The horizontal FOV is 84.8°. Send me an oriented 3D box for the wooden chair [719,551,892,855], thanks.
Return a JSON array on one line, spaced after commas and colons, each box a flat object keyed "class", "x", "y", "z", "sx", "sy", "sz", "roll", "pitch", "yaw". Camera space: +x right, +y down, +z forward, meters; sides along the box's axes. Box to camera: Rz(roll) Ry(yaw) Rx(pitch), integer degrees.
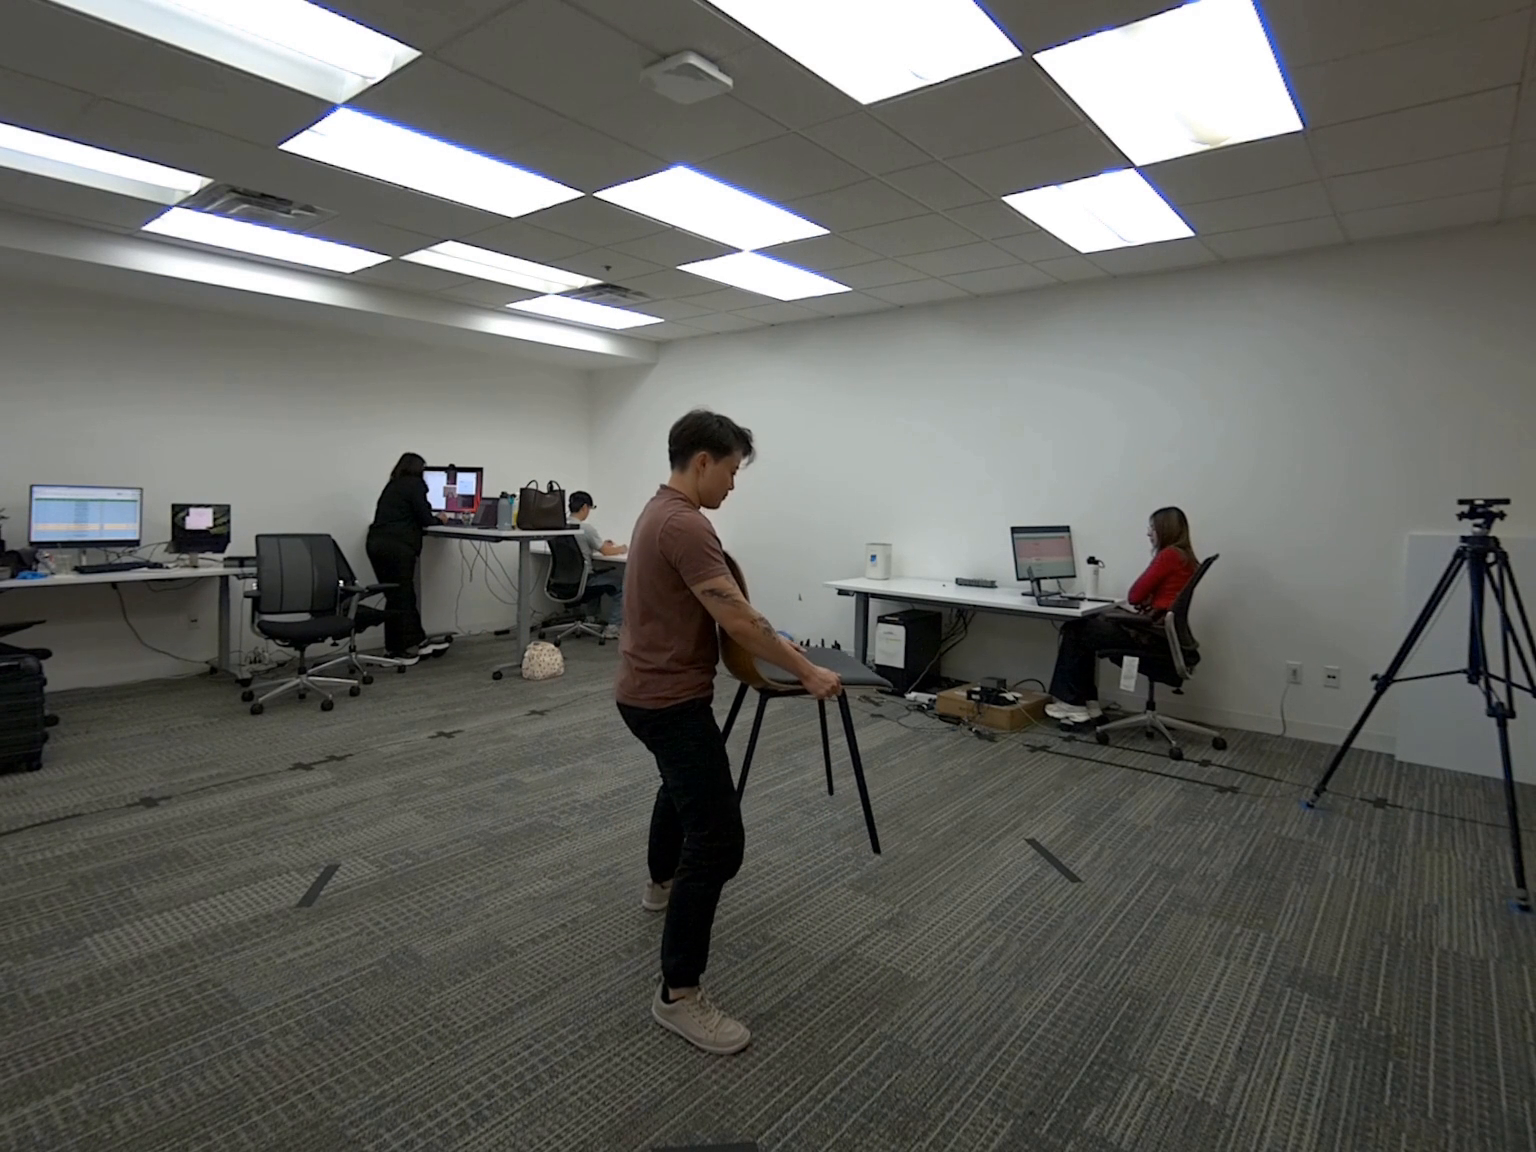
[{"class": "wooden chair", "x": 0.074, "y": 0.336, "z": 2.545, "sx": 0.518, "sy": 0.874, "sz": 0.485, "roll": -2, "pitch": 4, "yaw": -11}]
